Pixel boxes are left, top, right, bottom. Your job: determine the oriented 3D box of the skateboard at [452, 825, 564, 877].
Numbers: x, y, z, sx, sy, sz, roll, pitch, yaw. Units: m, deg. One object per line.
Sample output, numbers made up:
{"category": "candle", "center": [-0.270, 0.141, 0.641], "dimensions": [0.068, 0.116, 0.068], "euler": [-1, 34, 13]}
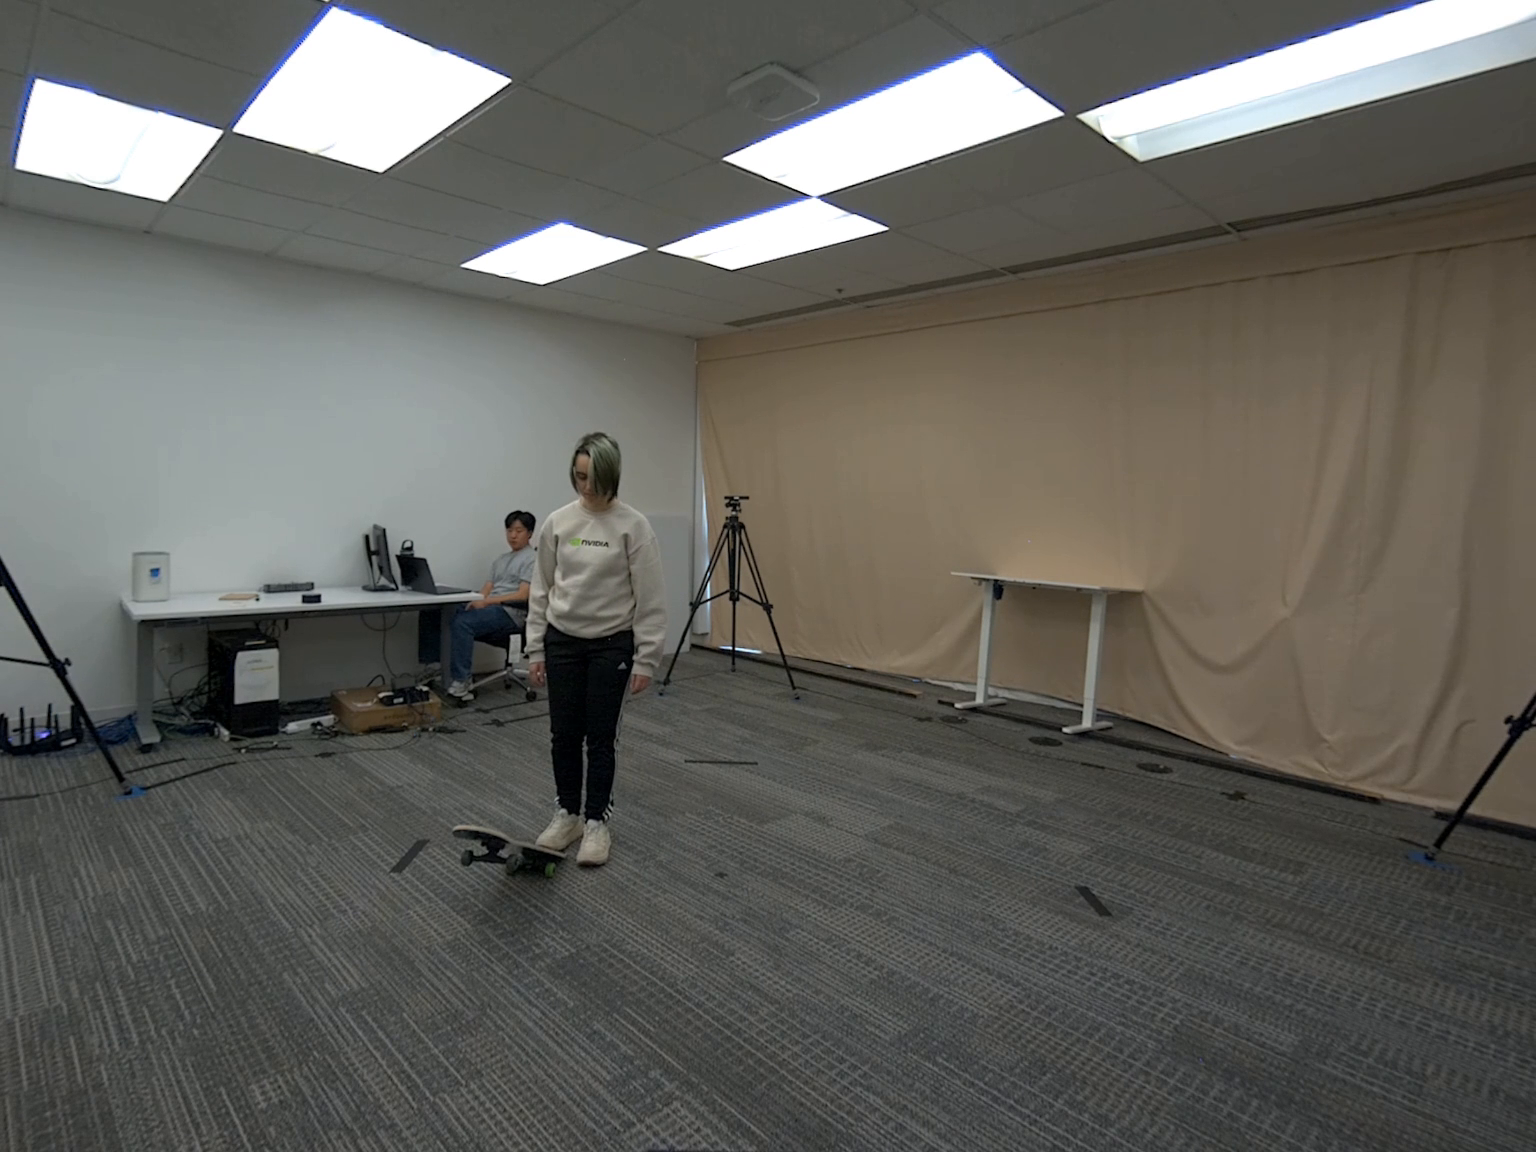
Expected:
{"category": "skateboard", "center": [-0.894, 0.965, 2.893], "dimensions": [0.195, 0.112, 0.769], "euler": [2, -23, 7]}
